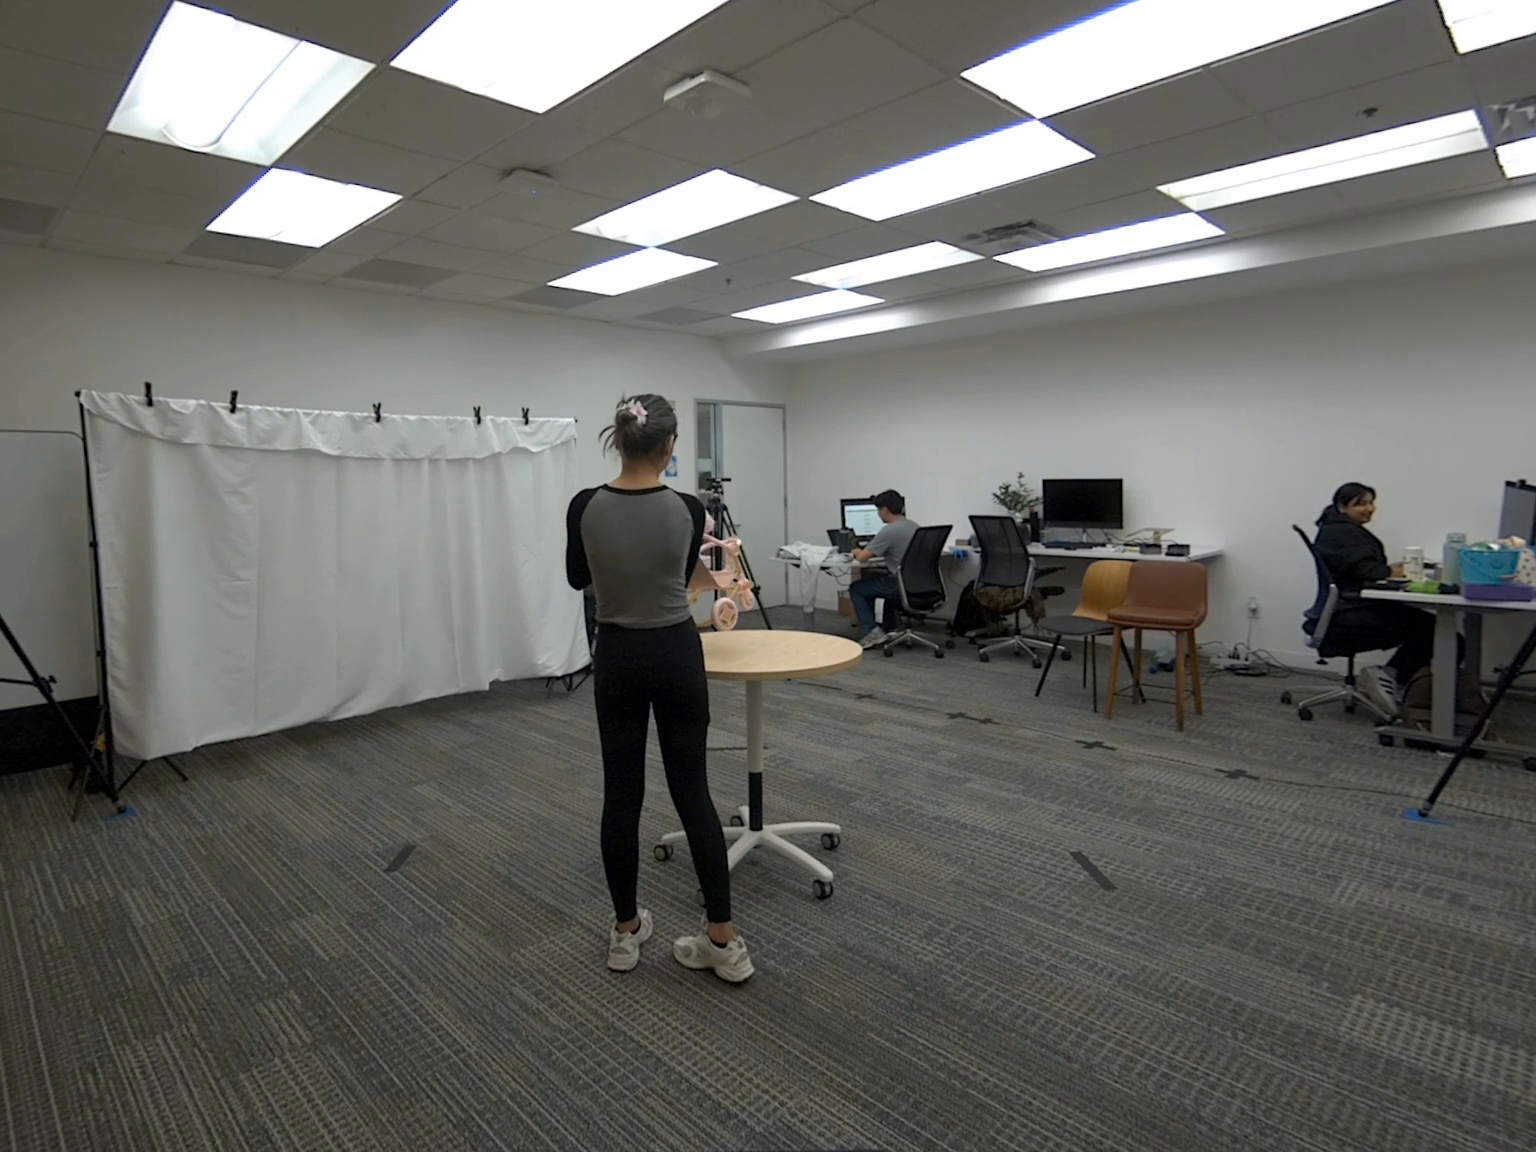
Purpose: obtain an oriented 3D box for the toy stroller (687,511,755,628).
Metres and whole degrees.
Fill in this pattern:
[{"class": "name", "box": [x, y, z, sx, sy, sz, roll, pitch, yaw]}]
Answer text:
[{"class": "toy stroller", "box": [-0.230, -0.053, 2.920, 0.289, 0.525, 0.339, -7, 24, 46]}]
